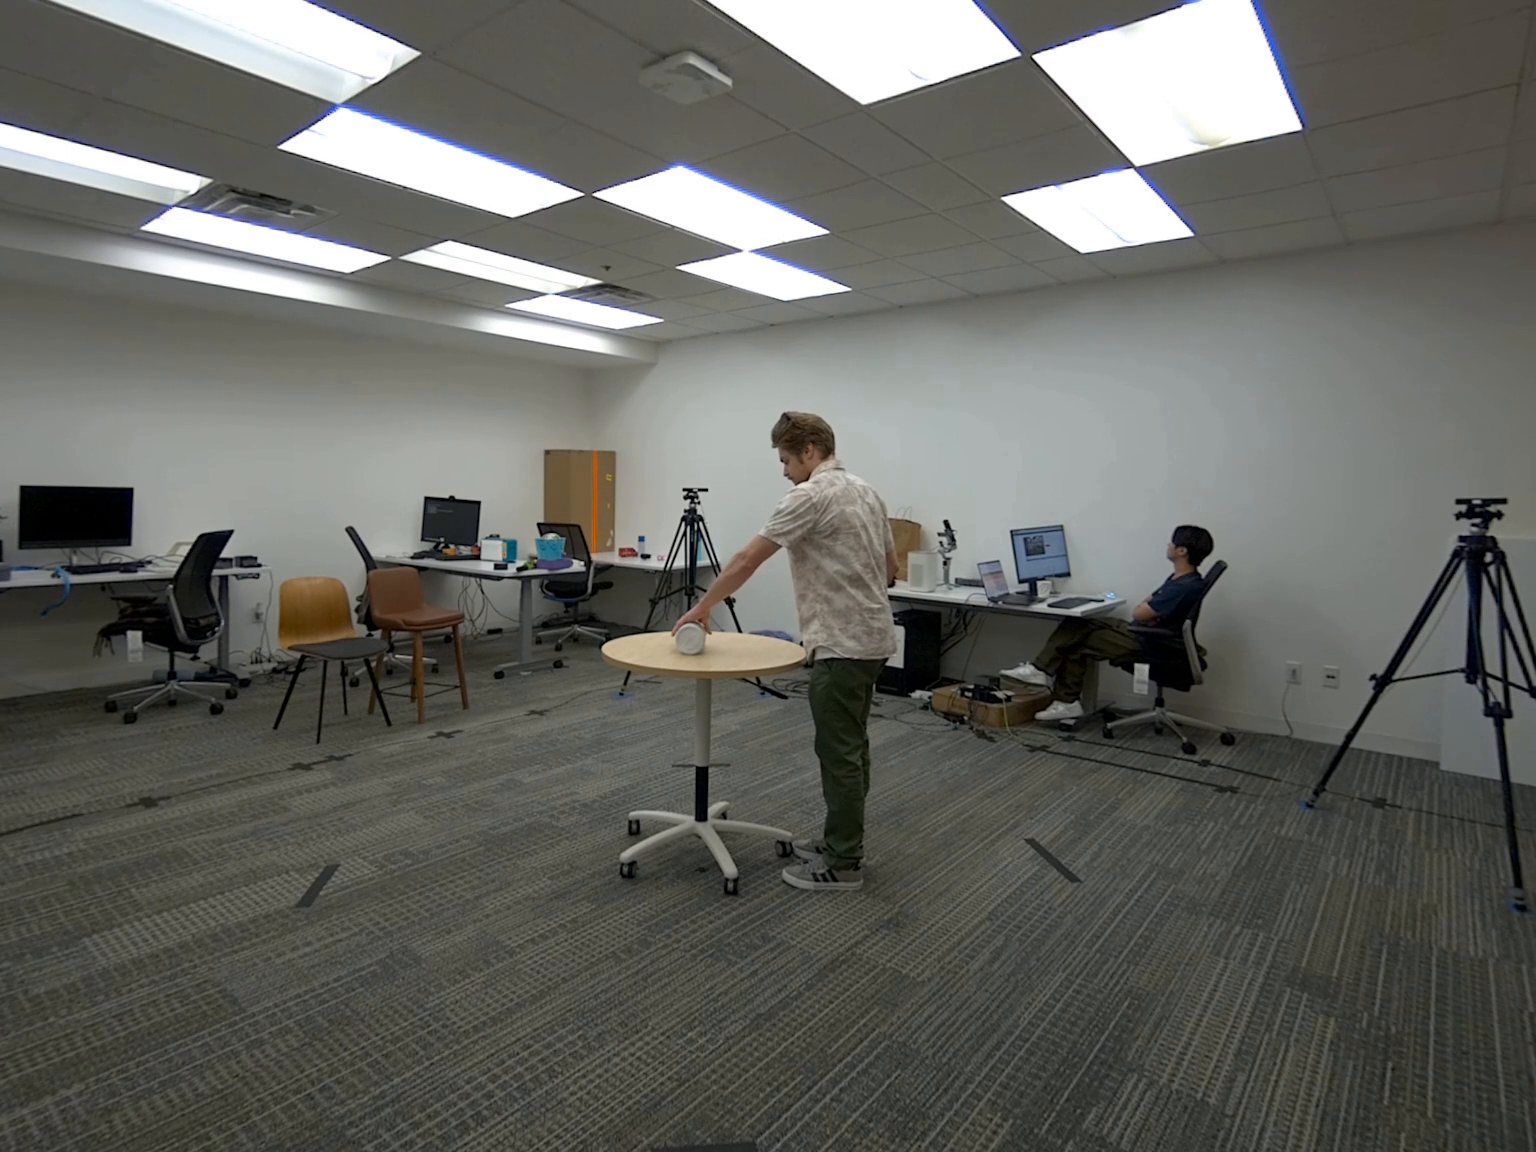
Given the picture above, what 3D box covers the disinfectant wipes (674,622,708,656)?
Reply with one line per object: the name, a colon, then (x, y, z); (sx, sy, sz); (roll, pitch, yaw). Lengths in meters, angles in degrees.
disinfectant wipes: (-0.296, 0.222, 3.165); (0.117, 0.117, 0.219); (0, 4, -7)
